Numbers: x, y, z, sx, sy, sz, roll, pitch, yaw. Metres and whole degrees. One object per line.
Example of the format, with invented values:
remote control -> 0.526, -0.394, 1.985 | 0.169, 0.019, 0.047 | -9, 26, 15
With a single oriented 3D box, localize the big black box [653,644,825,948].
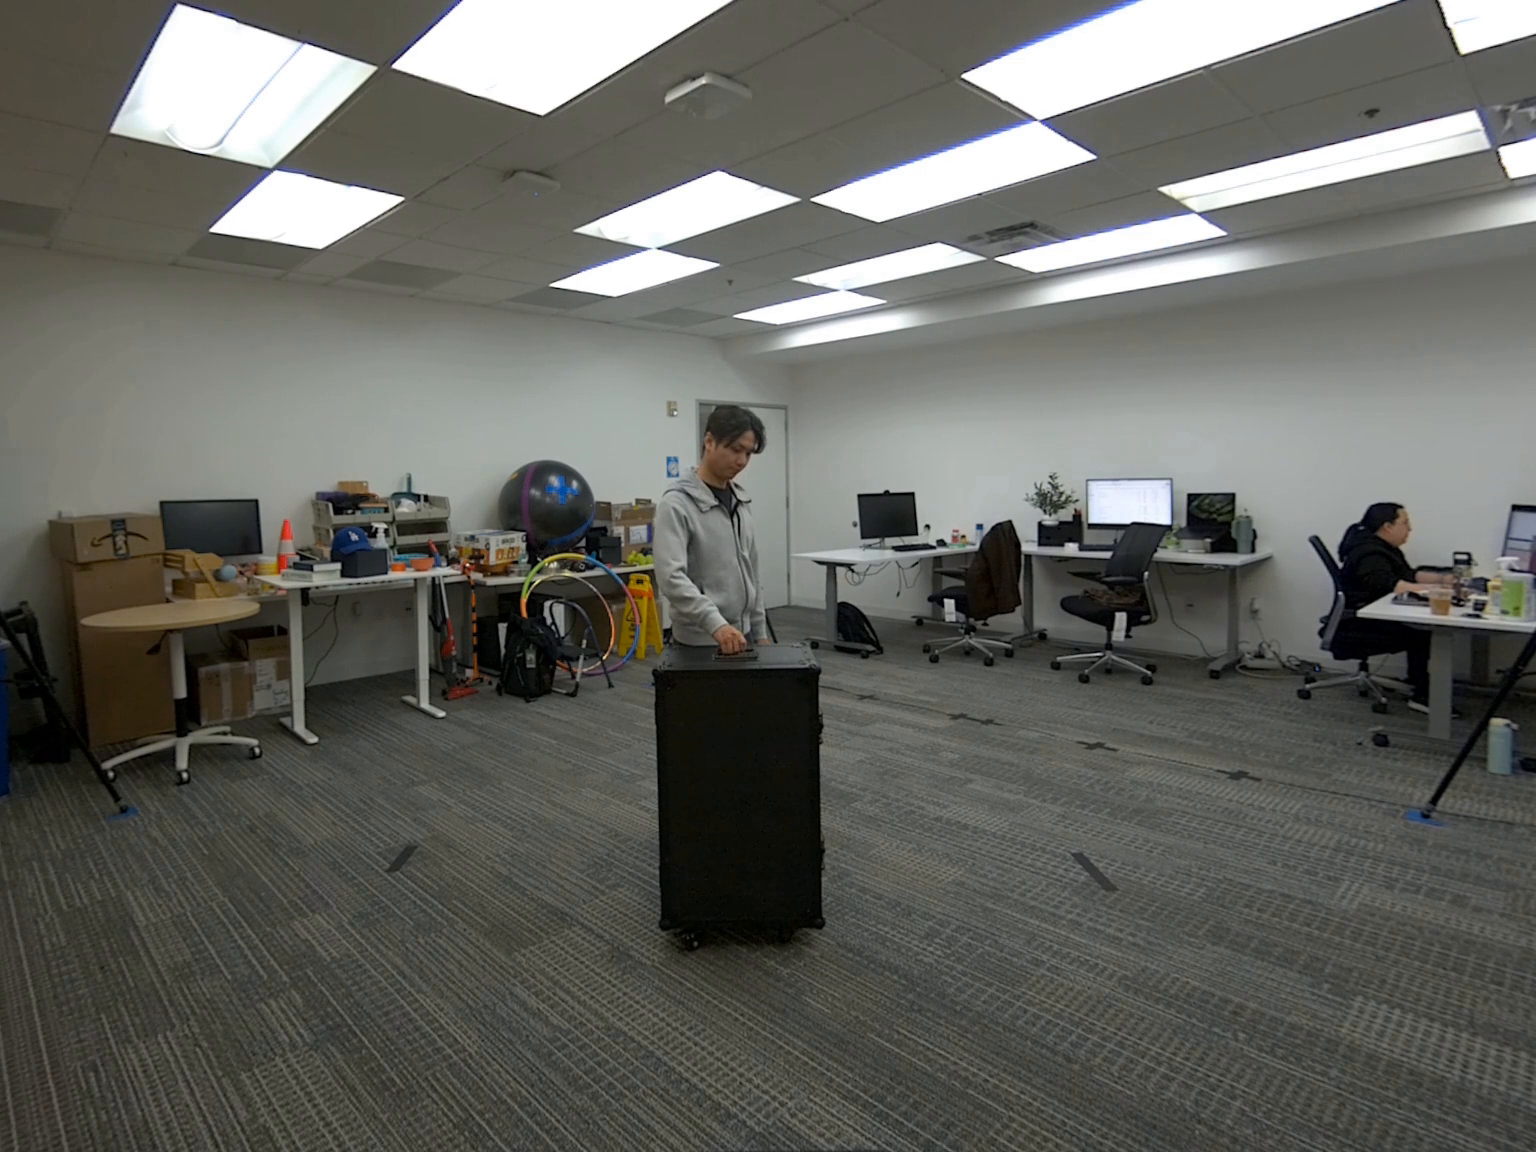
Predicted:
big black box -> -0.091, 0.682, 2.682 | 0.521, 0.859, 0.397 | -2, 3, 0
